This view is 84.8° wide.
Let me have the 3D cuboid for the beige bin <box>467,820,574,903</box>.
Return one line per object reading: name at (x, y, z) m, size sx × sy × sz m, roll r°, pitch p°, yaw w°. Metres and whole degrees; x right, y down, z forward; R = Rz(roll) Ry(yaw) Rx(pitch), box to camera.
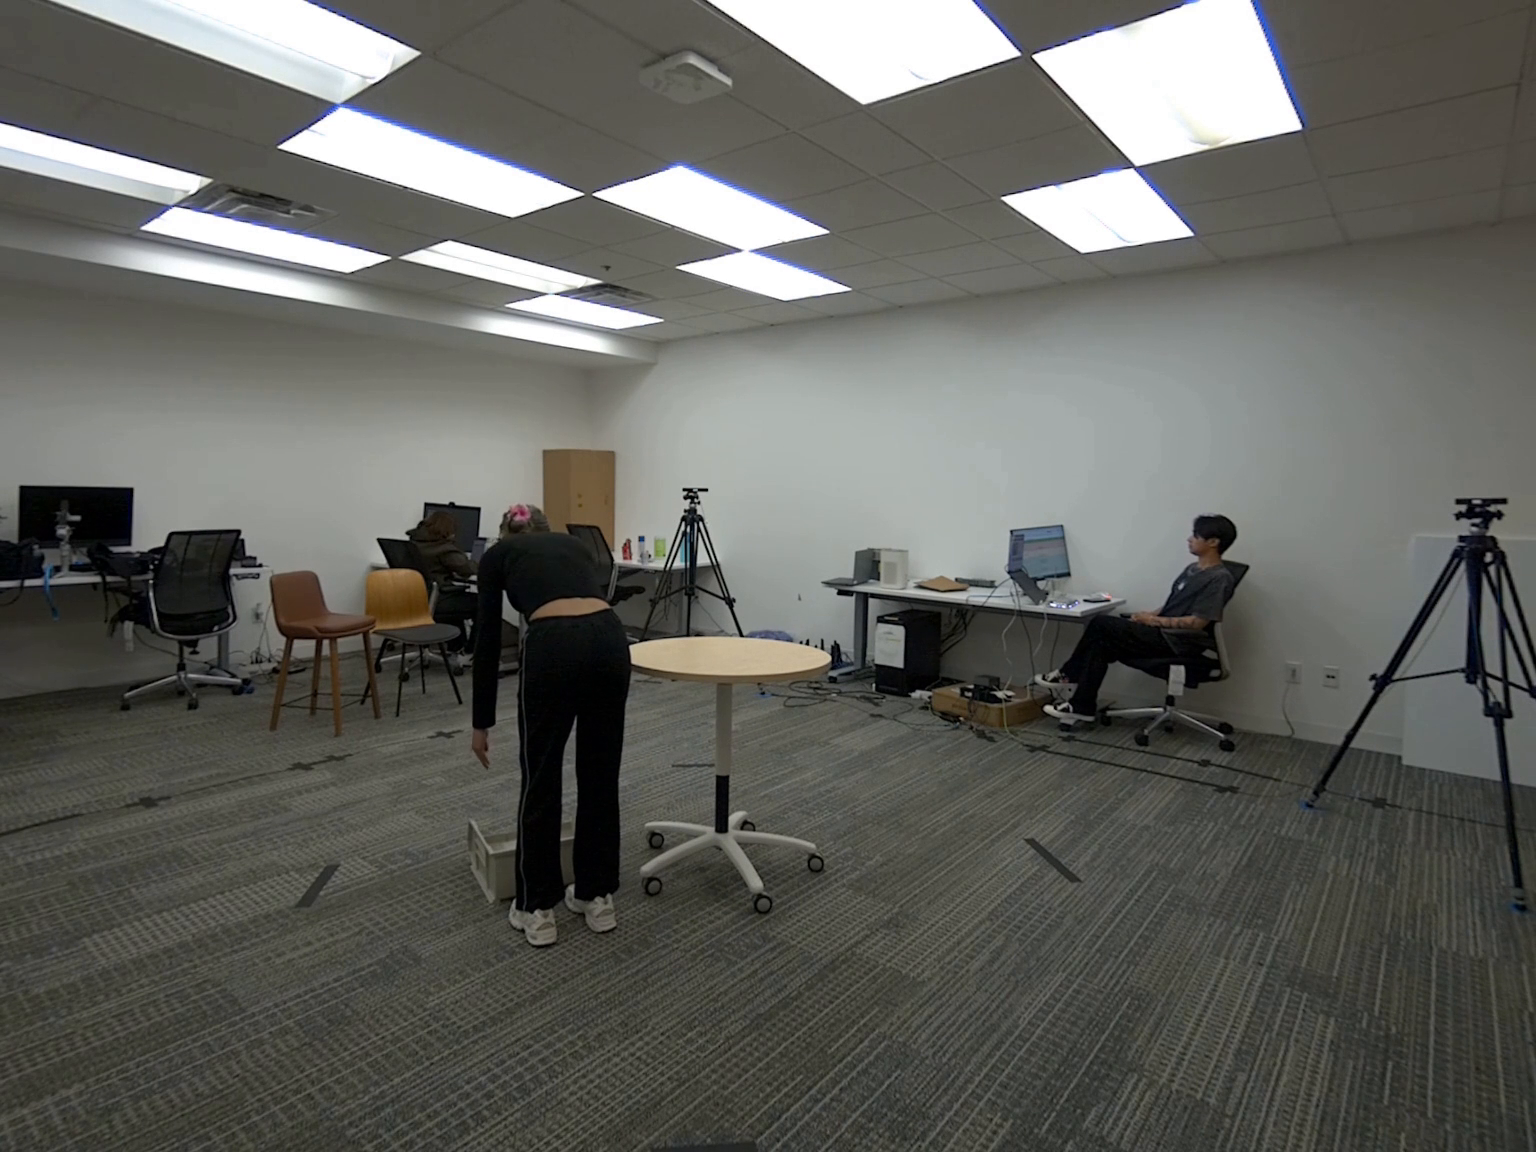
beige bin at (-0.842, 0.972, 3.059) m, size 0.411 × 0.188 × 0.389 m, roll -2°, pitch 6°, yaw -31°
